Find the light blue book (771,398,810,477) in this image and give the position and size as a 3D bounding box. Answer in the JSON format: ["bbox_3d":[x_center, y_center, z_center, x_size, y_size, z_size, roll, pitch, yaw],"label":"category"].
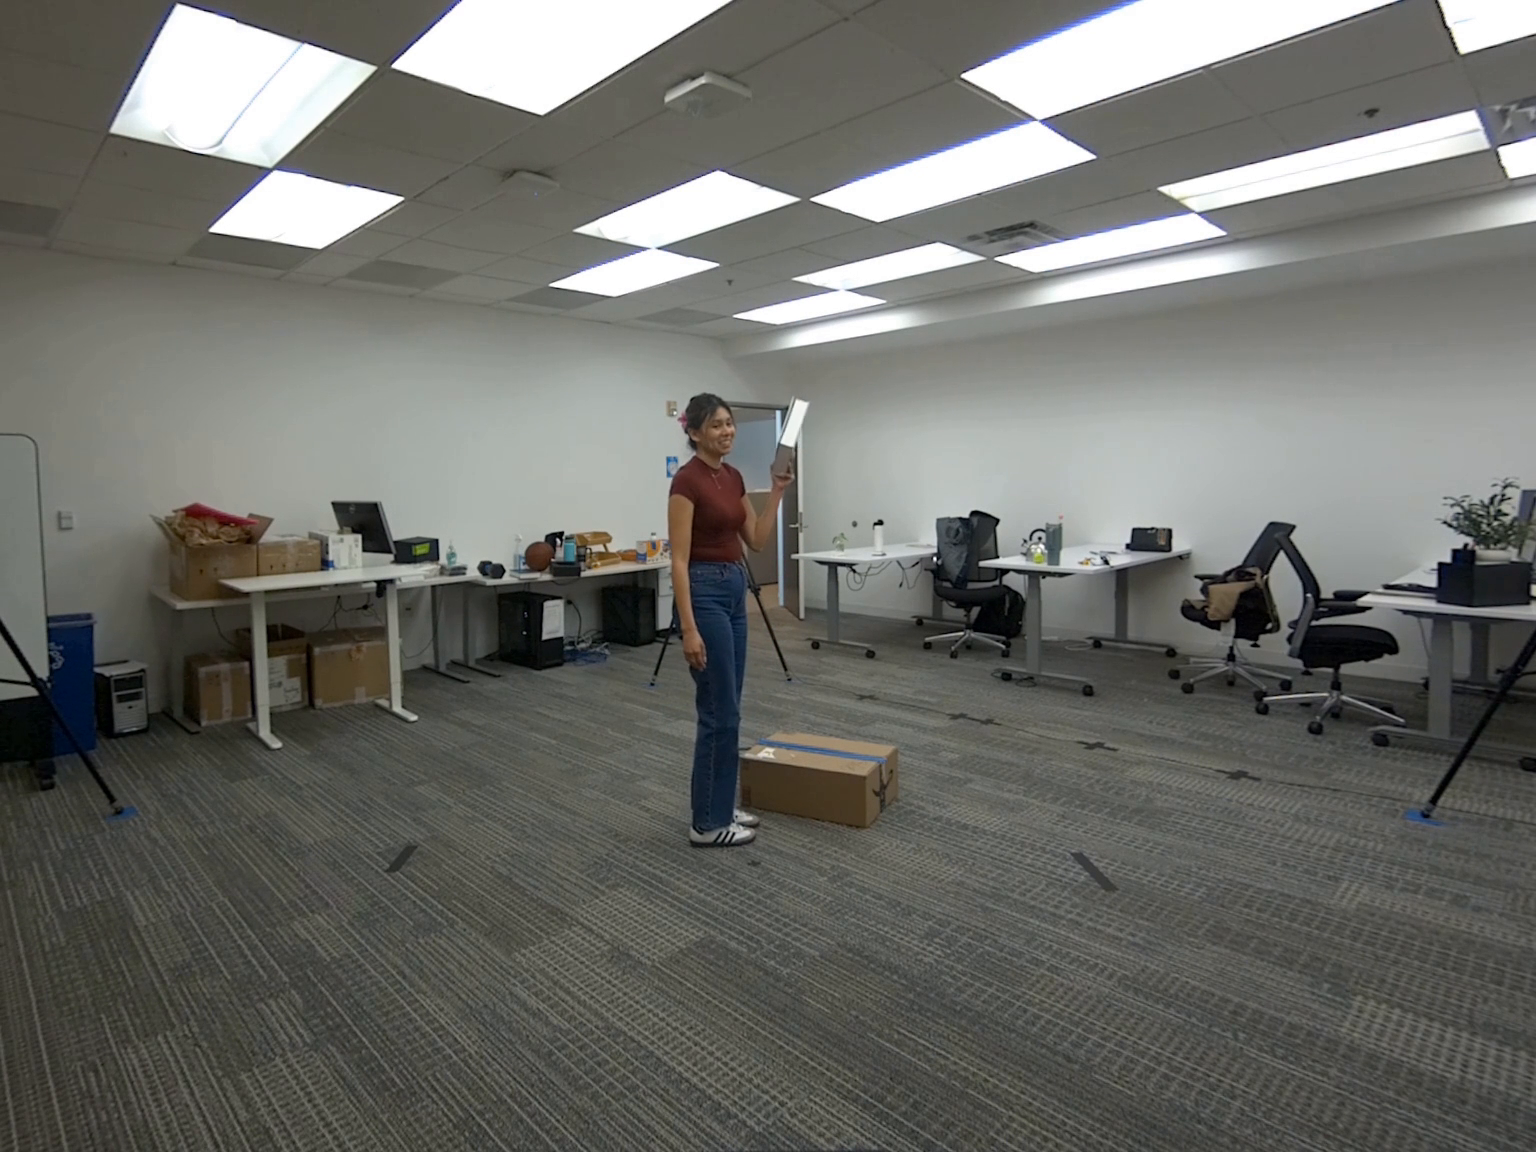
[{"bbox_3d":[0.083,-0.554,3.419,0.059,0.265,0.188,17,-34,0],"label":"light blue book"}]
